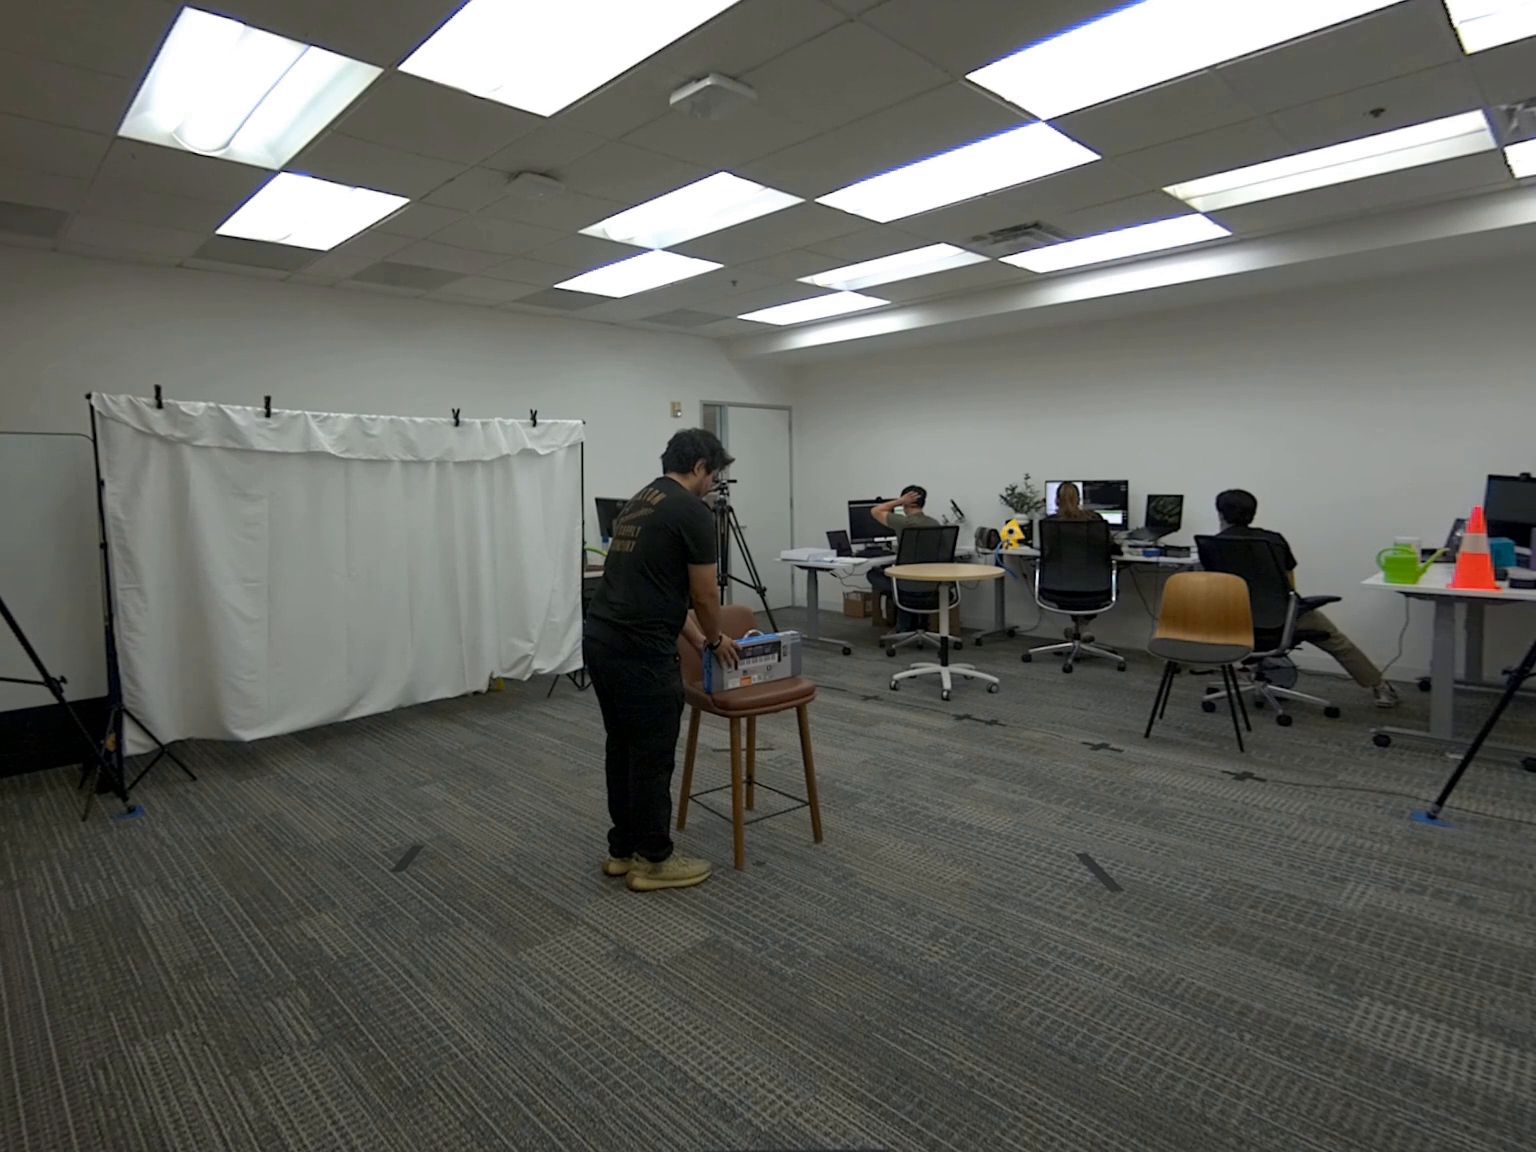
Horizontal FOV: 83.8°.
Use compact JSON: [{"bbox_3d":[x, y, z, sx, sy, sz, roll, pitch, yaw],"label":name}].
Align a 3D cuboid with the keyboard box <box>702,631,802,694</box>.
[{"bbox_3d":[-0.054,0.326,3.292,0.426,0.175,0.061,-7,8,-36],"label":"keyboard box"}]
